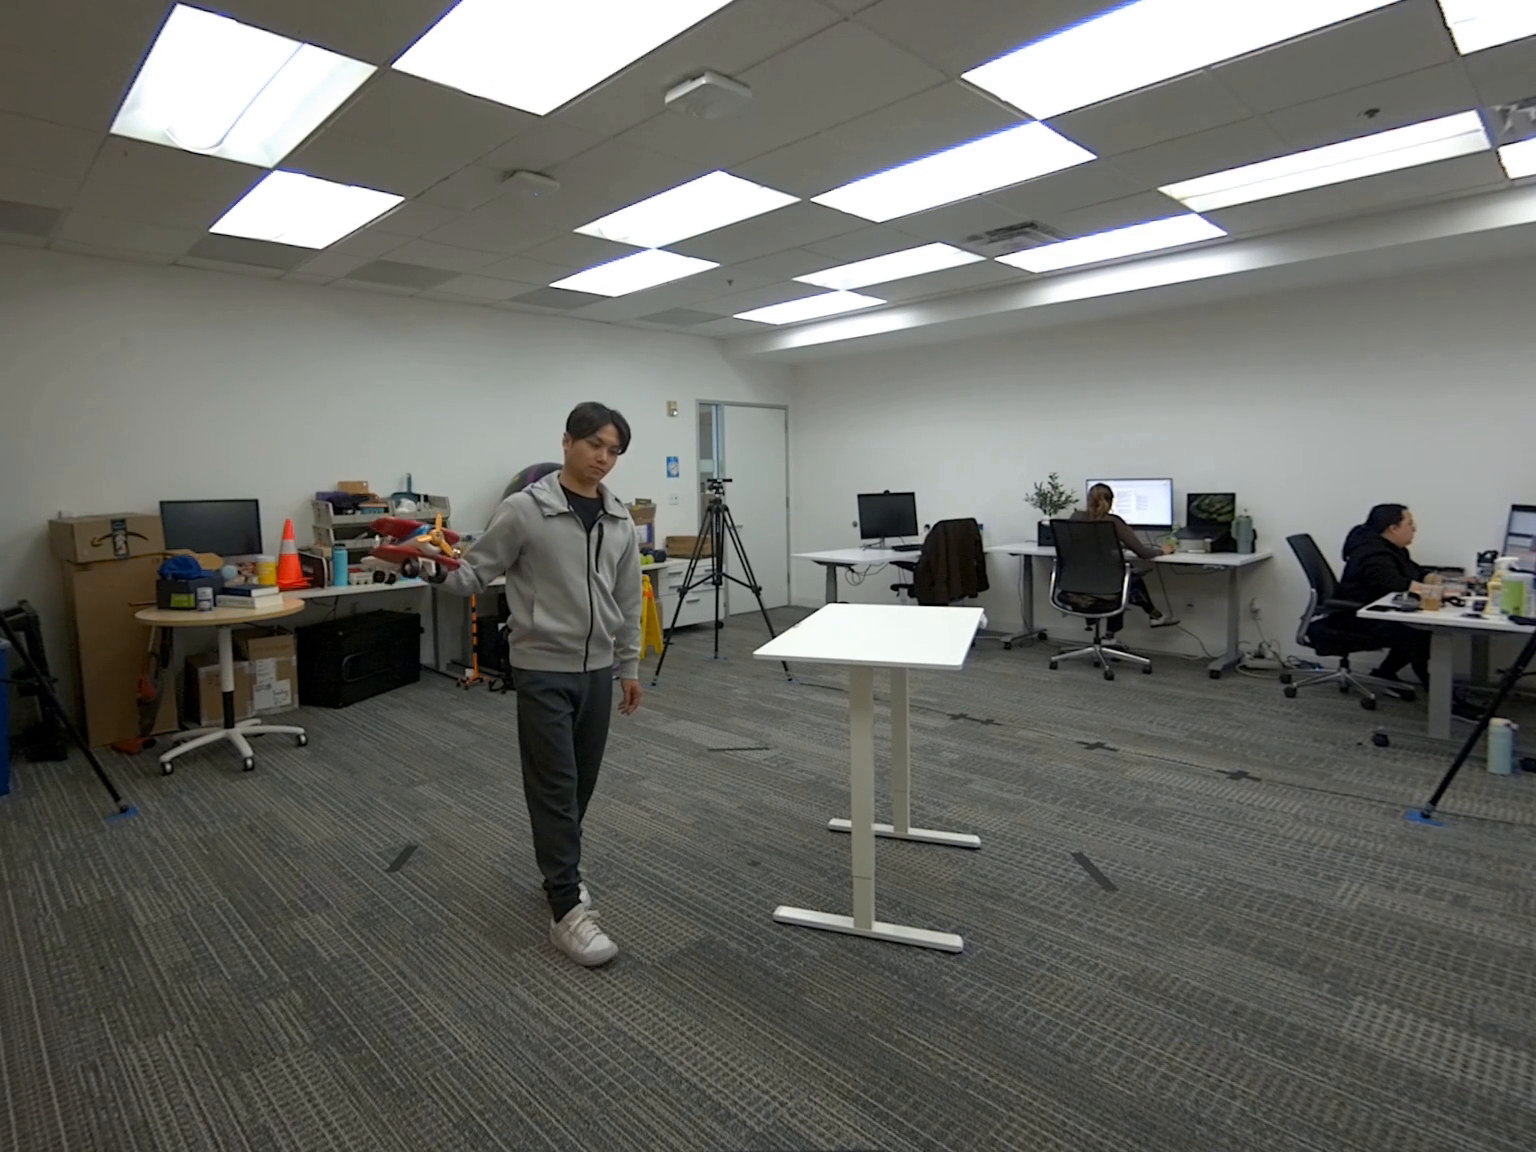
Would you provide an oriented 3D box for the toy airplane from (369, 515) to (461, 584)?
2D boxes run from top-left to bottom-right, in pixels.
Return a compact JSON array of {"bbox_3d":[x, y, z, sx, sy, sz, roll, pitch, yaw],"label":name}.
[{"bbox_3d":[-0.969,-0.069,2.279,0.261,0.158,0.247,3,-11,6],"label":"toy airplane"}]
